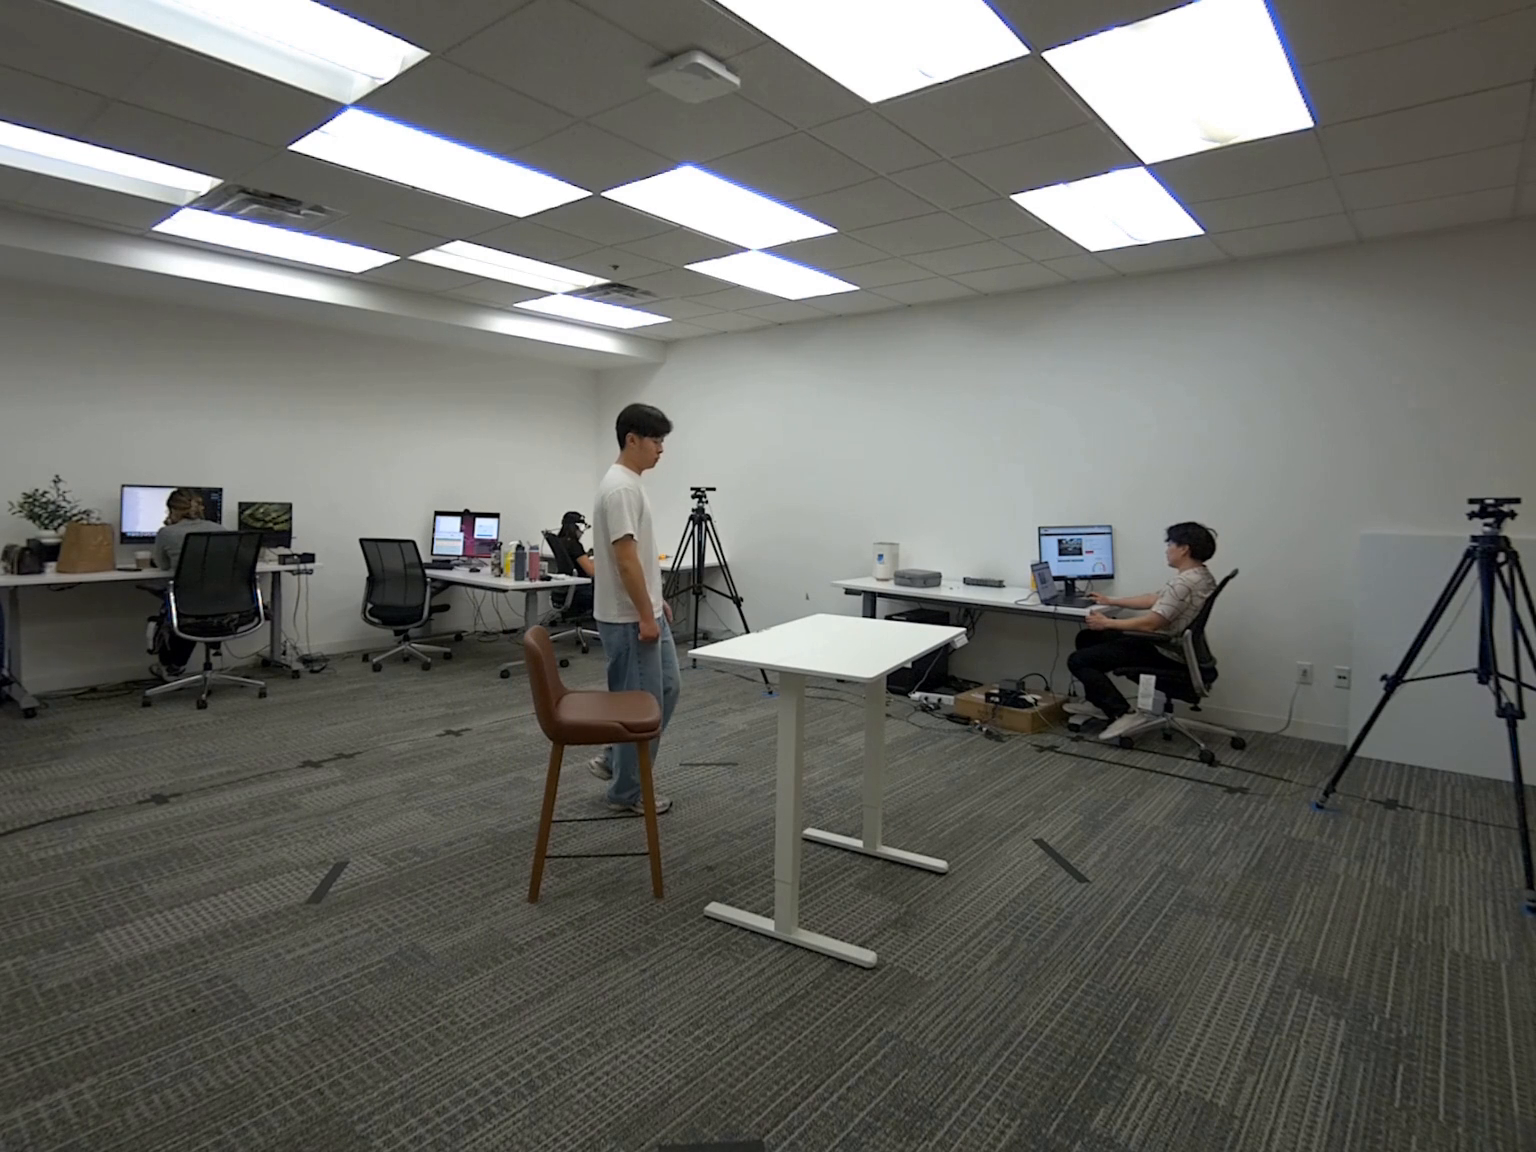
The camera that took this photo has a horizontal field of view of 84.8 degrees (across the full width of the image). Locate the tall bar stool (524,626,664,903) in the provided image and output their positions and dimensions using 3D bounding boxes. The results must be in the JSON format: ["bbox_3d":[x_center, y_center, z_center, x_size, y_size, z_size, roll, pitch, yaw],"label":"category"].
[{"bbox_3d":[-0.620,0.634,3.023,0.463,0.888,0.462,-1,3,-10],"label":"tall bar stool"}]
